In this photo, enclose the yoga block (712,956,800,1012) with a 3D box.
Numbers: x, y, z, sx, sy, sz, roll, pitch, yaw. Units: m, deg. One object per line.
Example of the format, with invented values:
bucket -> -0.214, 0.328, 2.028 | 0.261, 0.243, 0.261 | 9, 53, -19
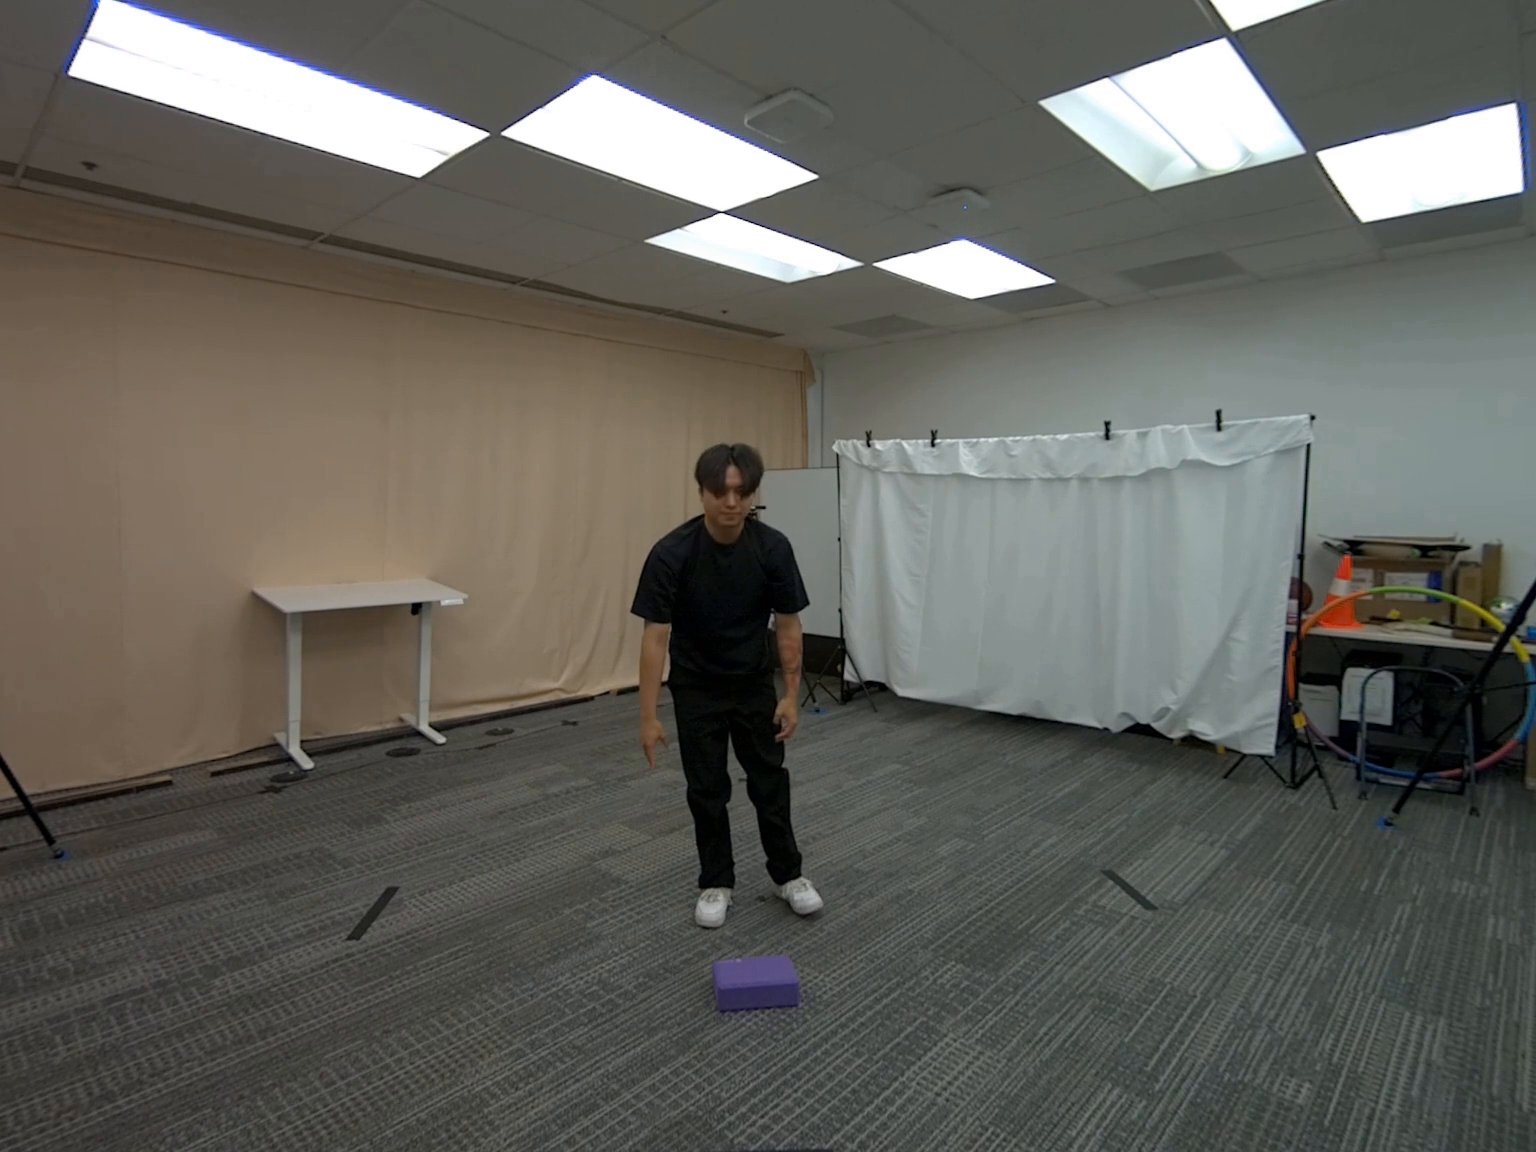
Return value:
yoga block -> -0.033, 1.147, 2.401 | 0.228, 0.076, 0.150 | 2, 3, -7
